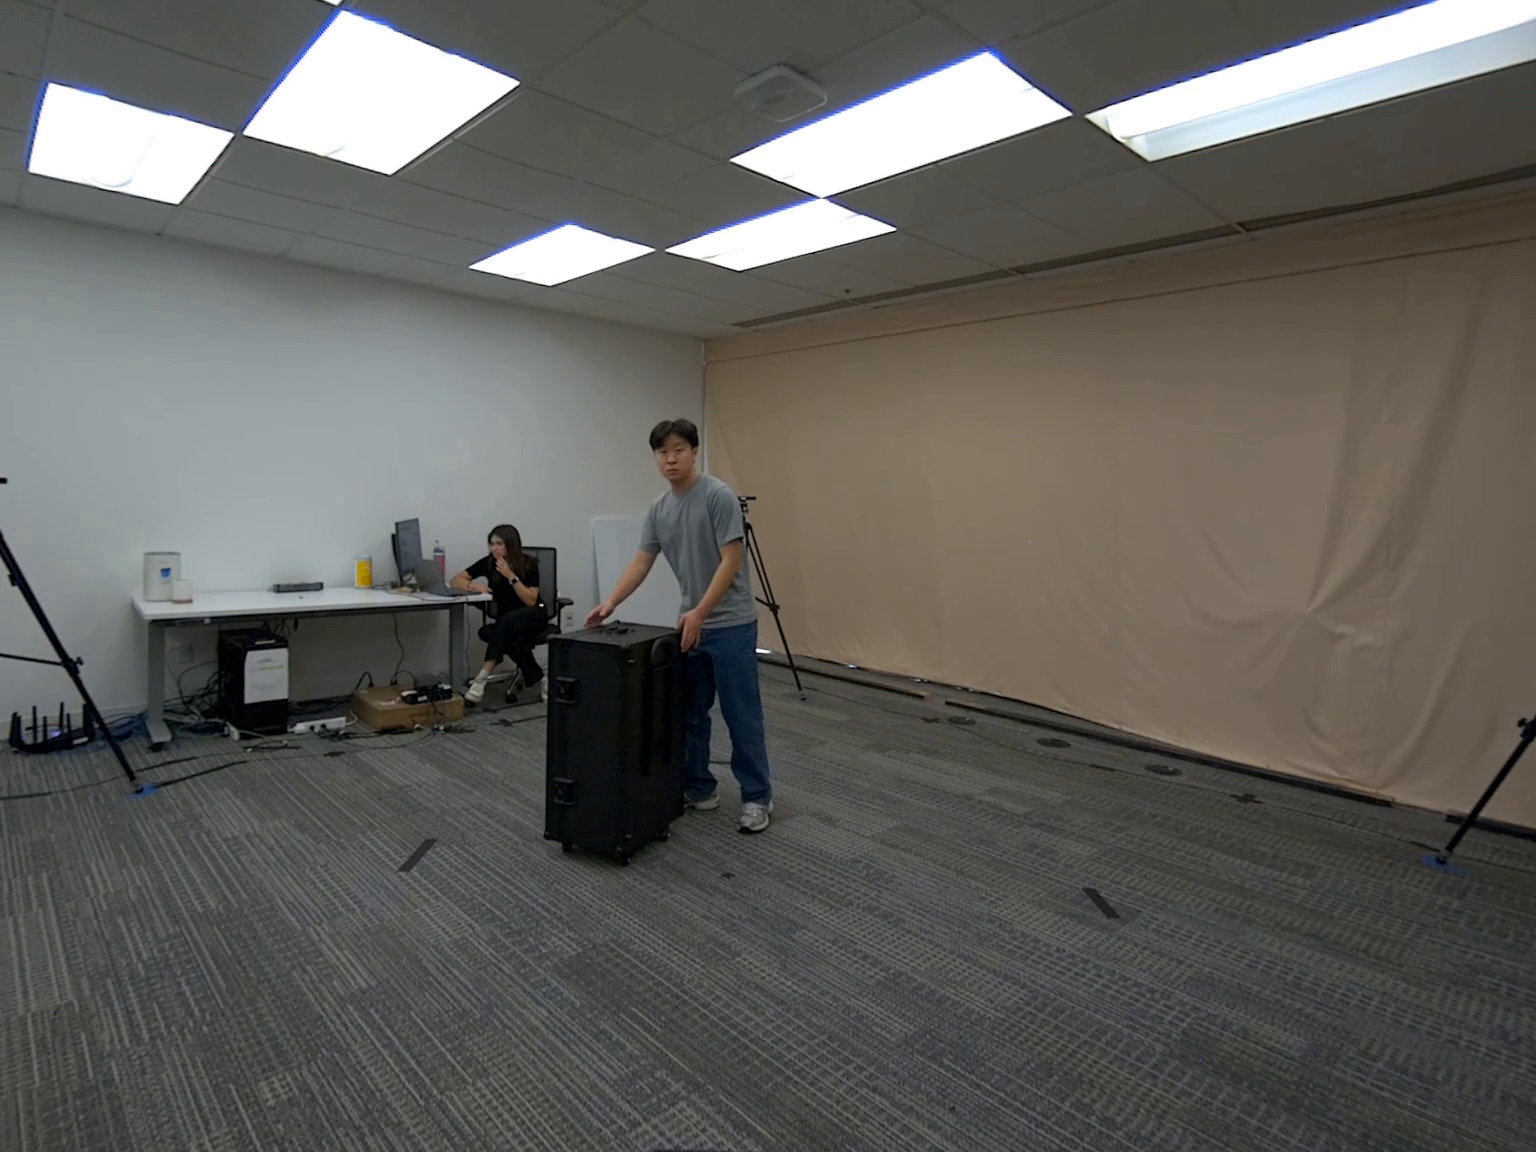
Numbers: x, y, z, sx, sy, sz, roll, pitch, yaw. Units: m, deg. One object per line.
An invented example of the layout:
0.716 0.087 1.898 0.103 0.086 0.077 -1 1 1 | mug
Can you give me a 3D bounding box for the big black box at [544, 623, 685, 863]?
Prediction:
-0.594 0.655 3.344 0.404 0.860 0.513 3 3 24 | big black box
